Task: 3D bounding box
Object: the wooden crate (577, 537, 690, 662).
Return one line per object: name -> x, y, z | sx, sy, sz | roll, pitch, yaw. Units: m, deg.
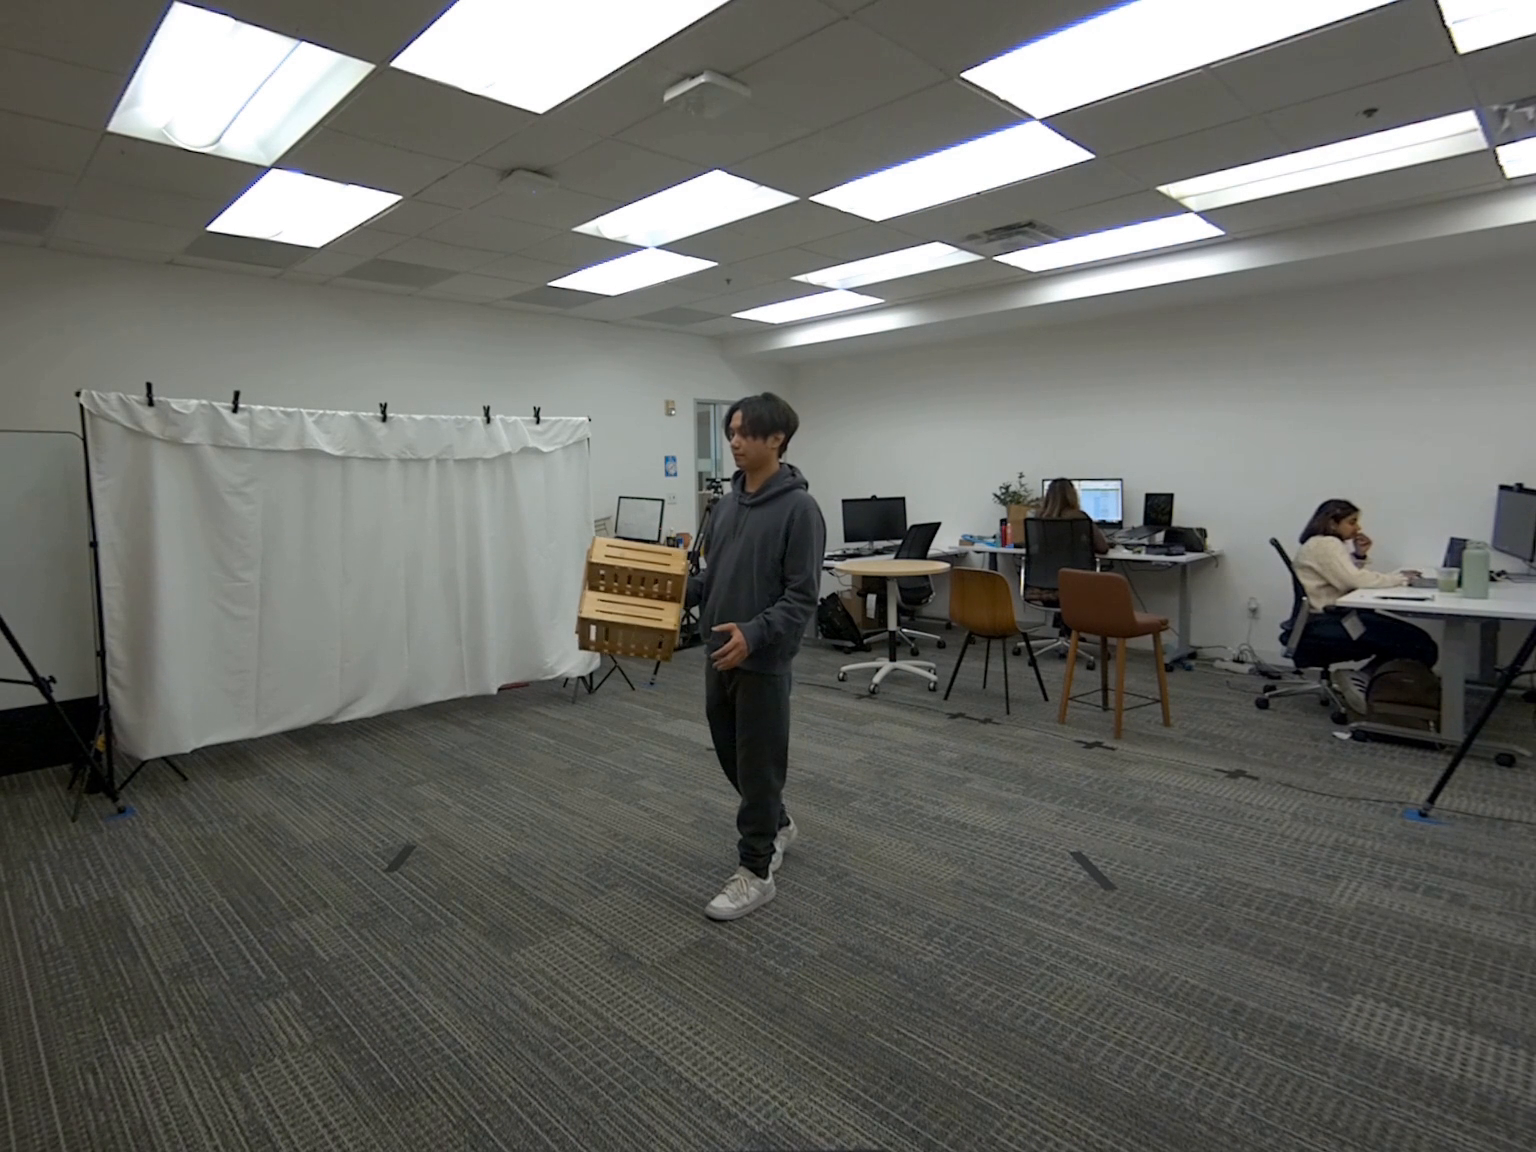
wooden crate -> -0.424, 0.079, 2.736 | 0.323, 0.279, 0.297 | 9, -33, -5
